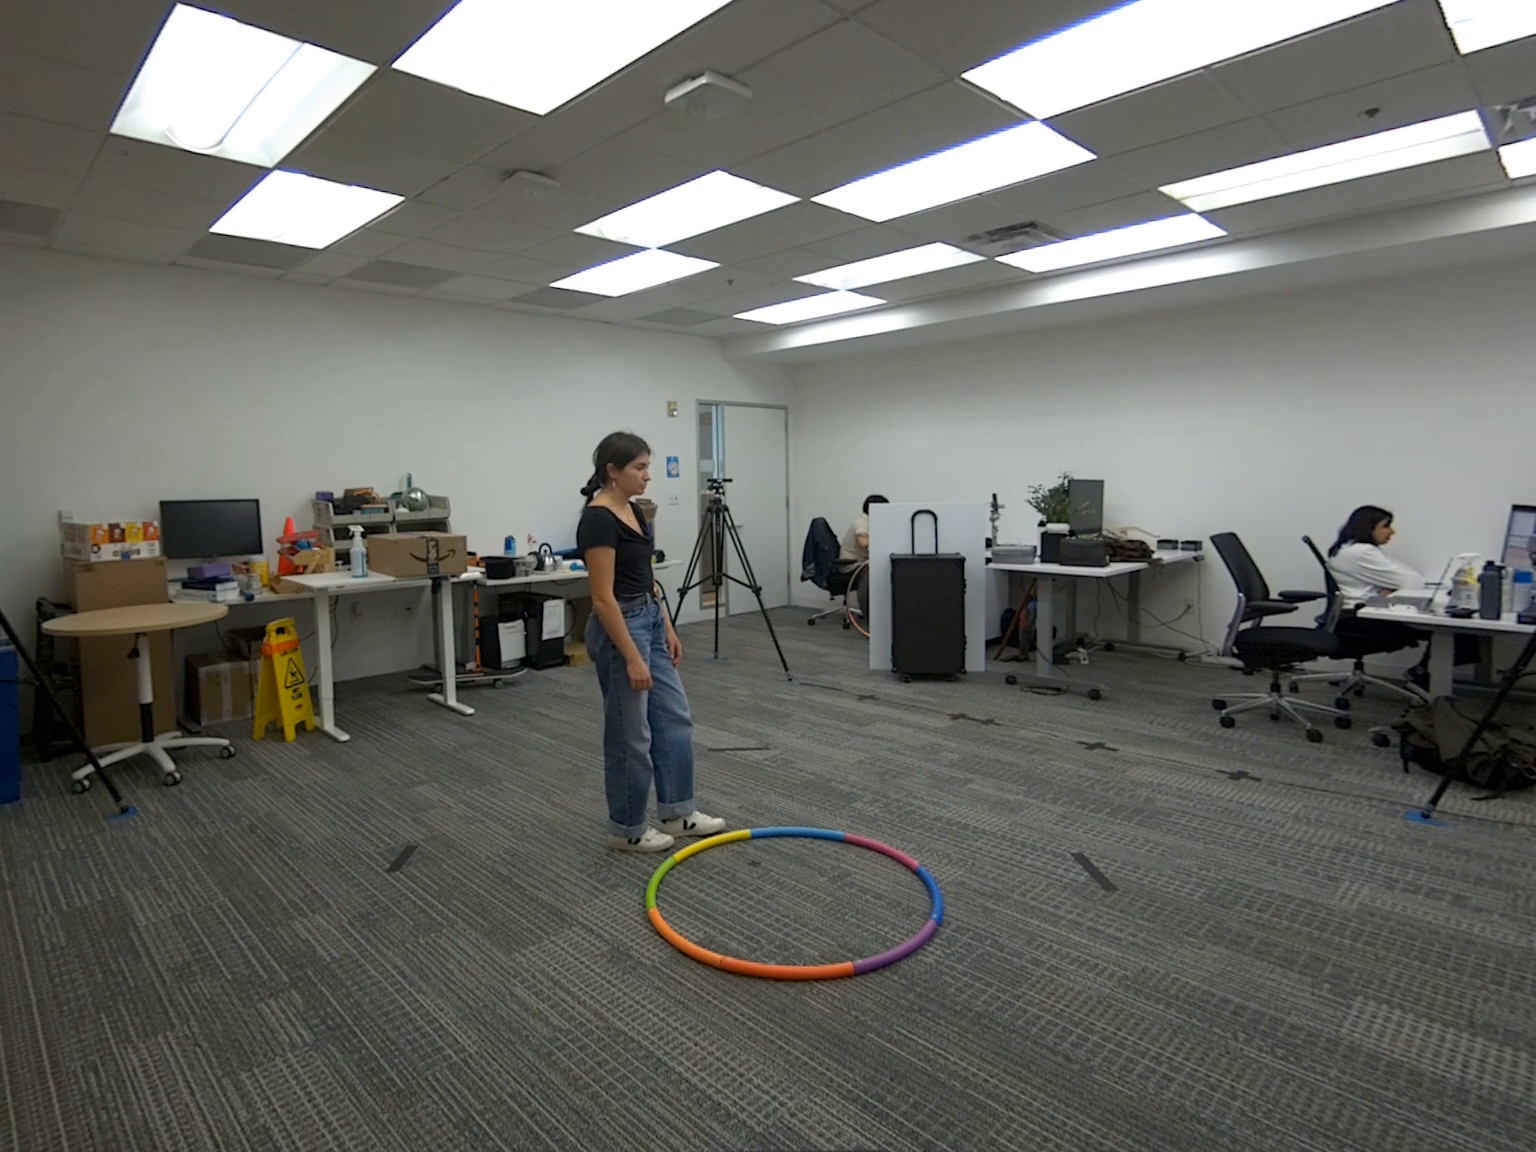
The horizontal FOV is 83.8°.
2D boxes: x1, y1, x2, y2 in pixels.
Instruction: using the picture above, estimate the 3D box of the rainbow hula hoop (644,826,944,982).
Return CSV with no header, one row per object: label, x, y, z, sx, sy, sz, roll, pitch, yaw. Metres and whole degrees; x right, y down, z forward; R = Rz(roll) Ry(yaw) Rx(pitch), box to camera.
rainbow hula hoop,0.079,1.042,2.869,0.978,0.035,0.984,-1,7,-2
